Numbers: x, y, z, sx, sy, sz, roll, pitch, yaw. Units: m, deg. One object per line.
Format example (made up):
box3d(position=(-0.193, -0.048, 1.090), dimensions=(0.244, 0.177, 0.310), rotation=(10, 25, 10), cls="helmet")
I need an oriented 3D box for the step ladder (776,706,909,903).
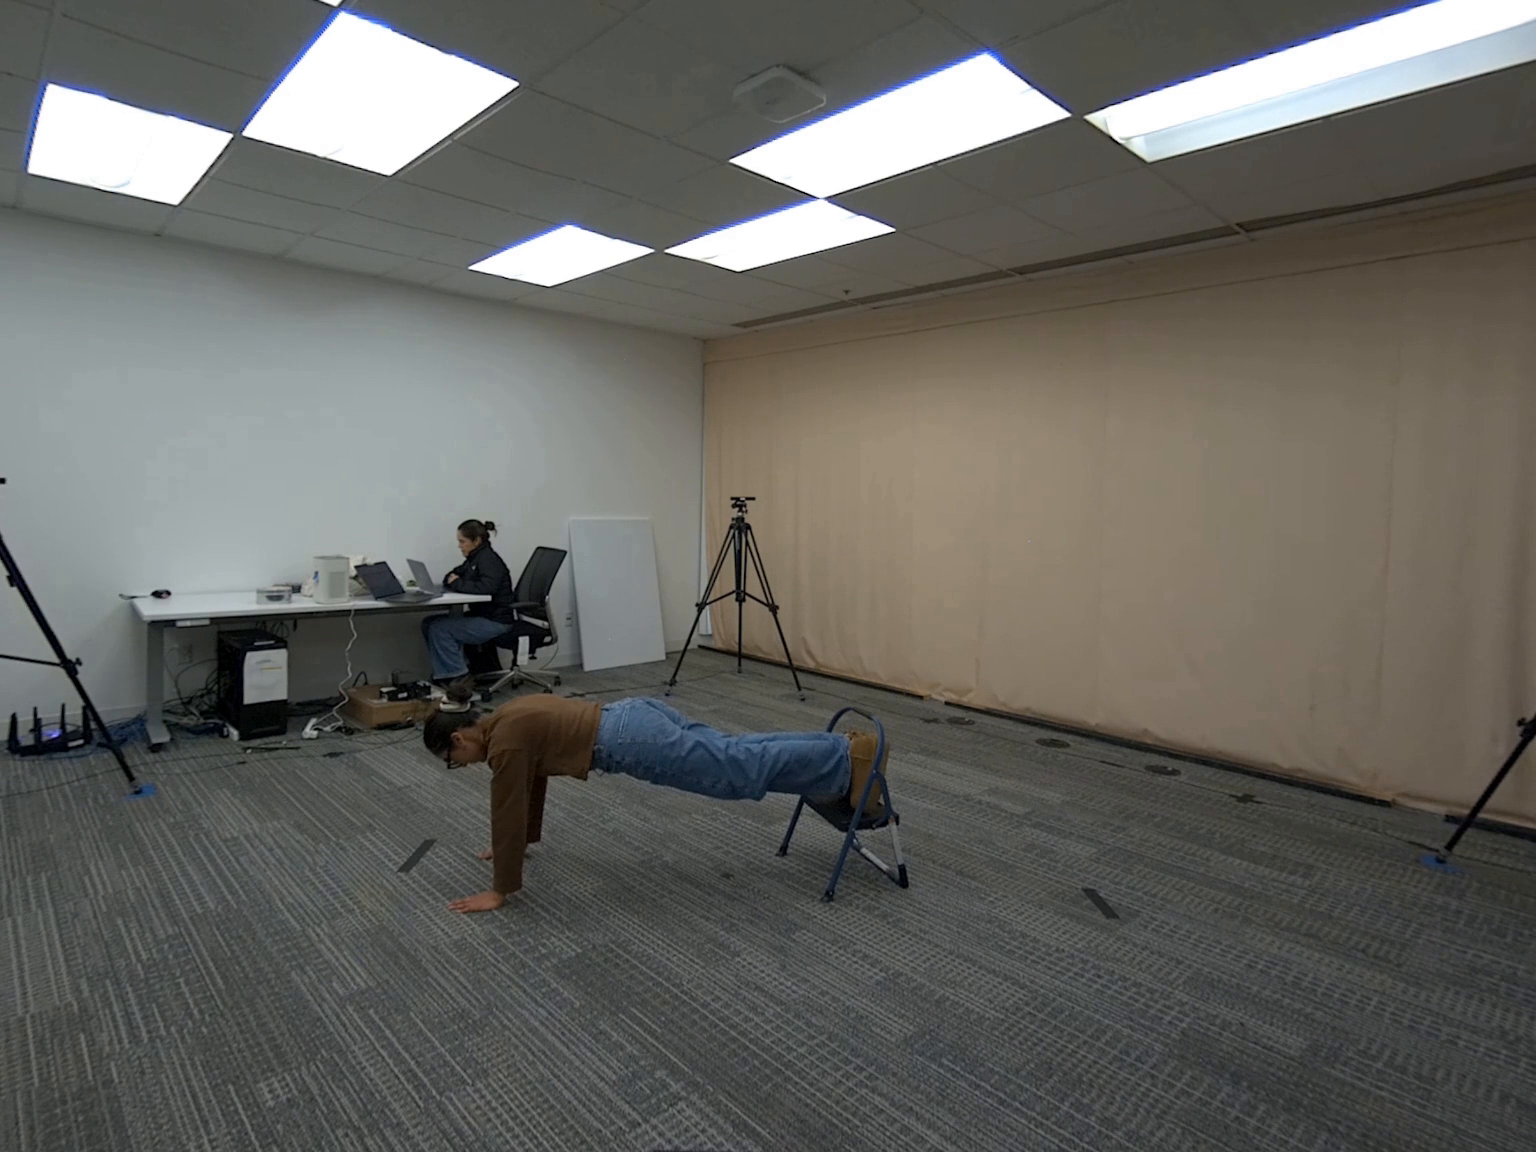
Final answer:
box3d(position=(0.276, 0.813, 3.155), dimensions=(0.343, 0.605, 0.439), rotation=(0, 4, -23), cls="step ladder")
